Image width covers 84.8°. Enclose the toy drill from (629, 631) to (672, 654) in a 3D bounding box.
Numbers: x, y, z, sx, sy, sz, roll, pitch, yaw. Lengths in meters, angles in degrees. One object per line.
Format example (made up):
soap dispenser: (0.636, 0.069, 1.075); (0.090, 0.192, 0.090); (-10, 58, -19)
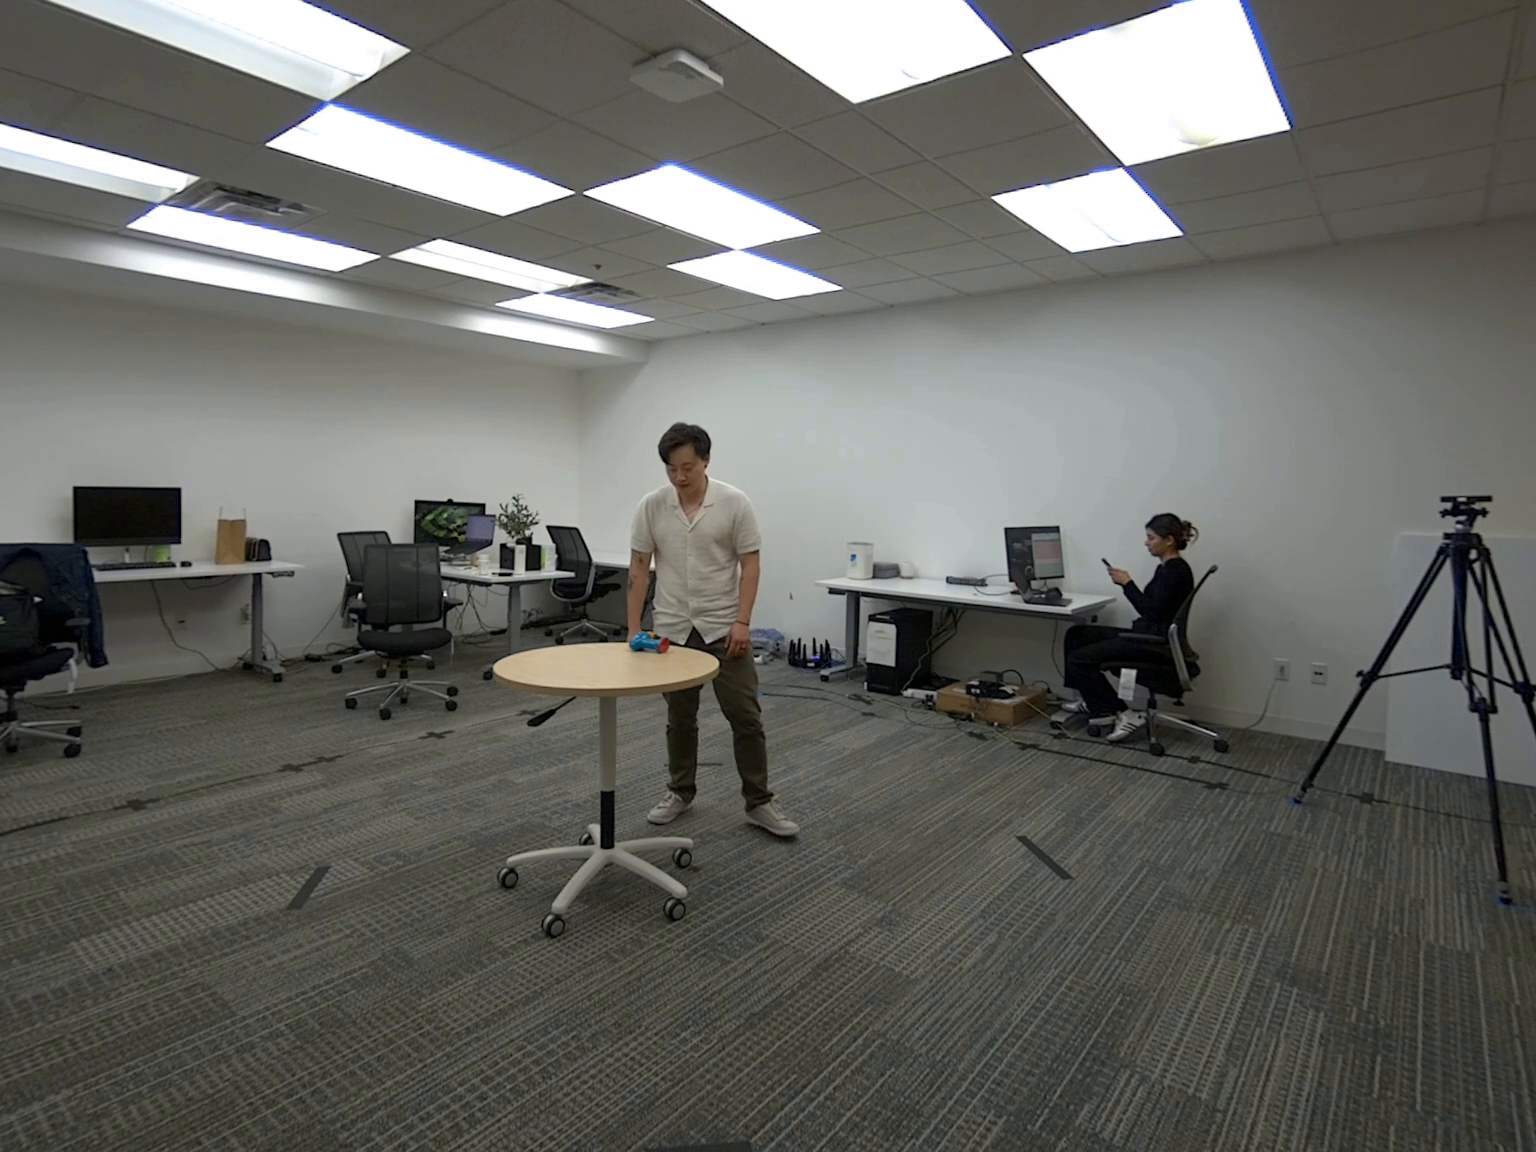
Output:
toy drill: (-0.449, 0.240, 3.179); (0.150, 0.060, 0.167); (5, 14, 22)
